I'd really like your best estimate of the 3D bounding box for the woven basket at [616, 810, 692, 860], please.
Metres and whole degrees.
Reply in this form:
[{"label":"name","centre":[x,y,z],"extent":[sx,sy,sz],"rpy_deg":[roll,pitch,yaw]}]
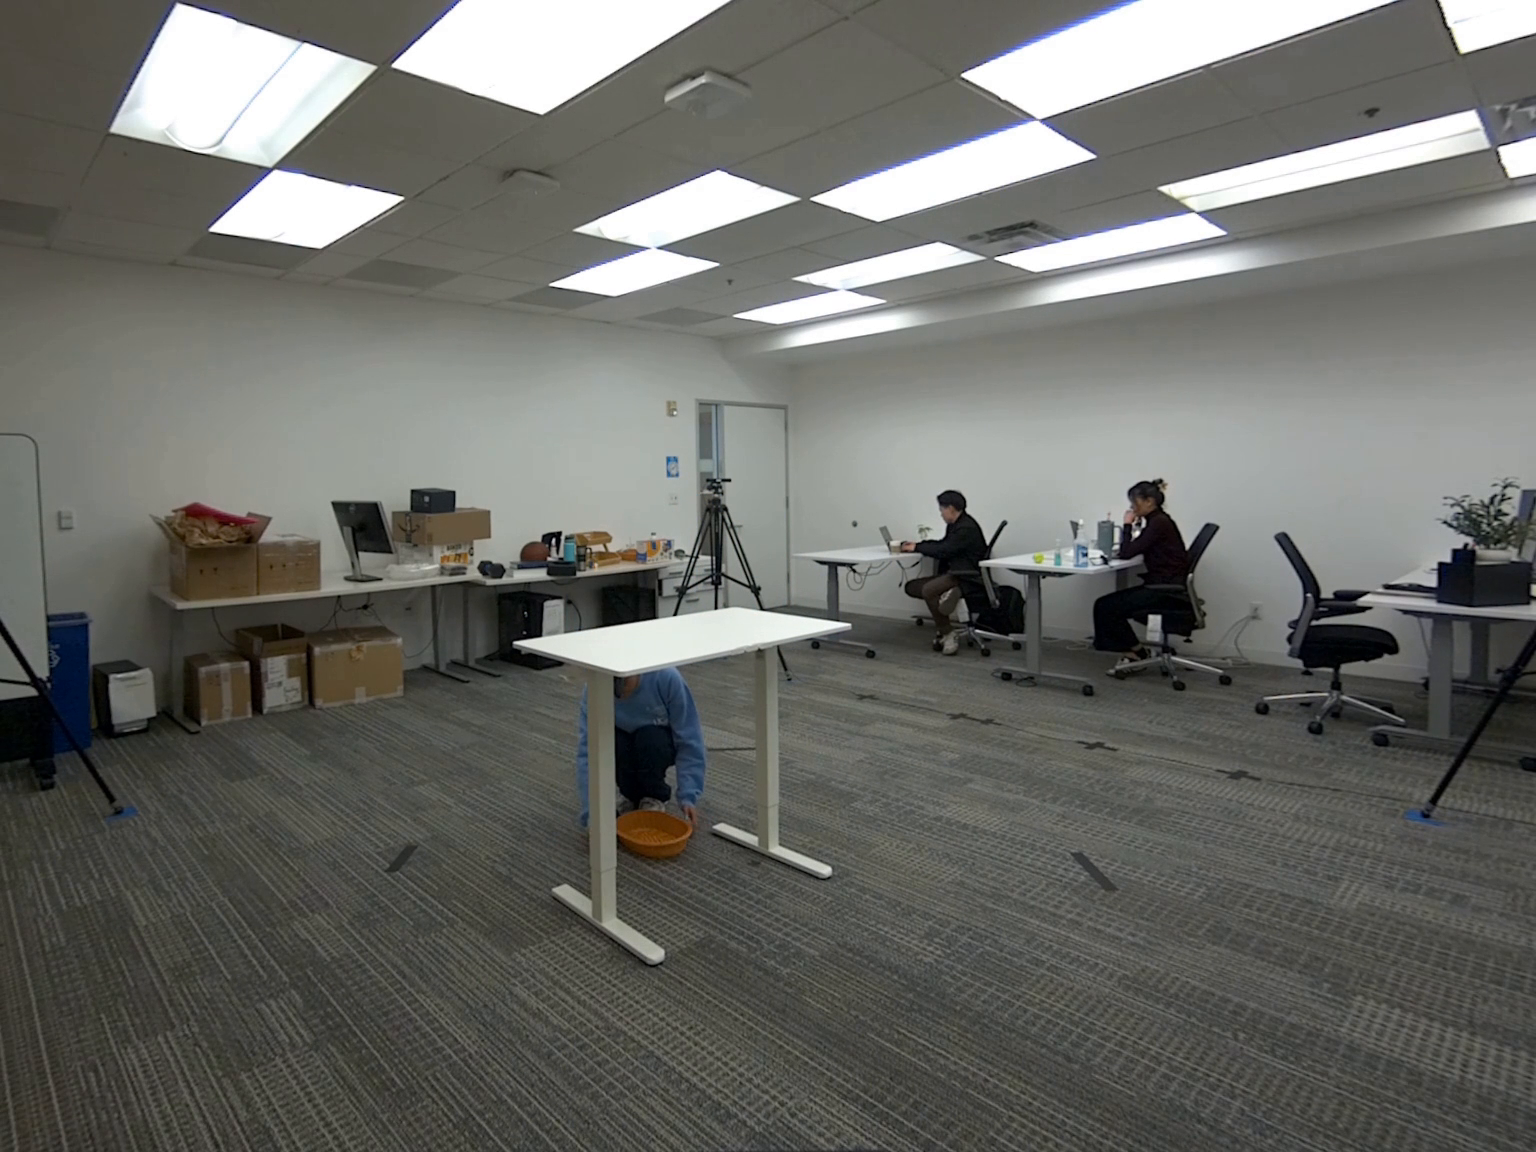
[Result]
[{"label":"woven basket","centre":[-0.445,0.989,3.272],"extent":[0.361,0.073,0.246],"rpy_deg":[6,11,43]}]
